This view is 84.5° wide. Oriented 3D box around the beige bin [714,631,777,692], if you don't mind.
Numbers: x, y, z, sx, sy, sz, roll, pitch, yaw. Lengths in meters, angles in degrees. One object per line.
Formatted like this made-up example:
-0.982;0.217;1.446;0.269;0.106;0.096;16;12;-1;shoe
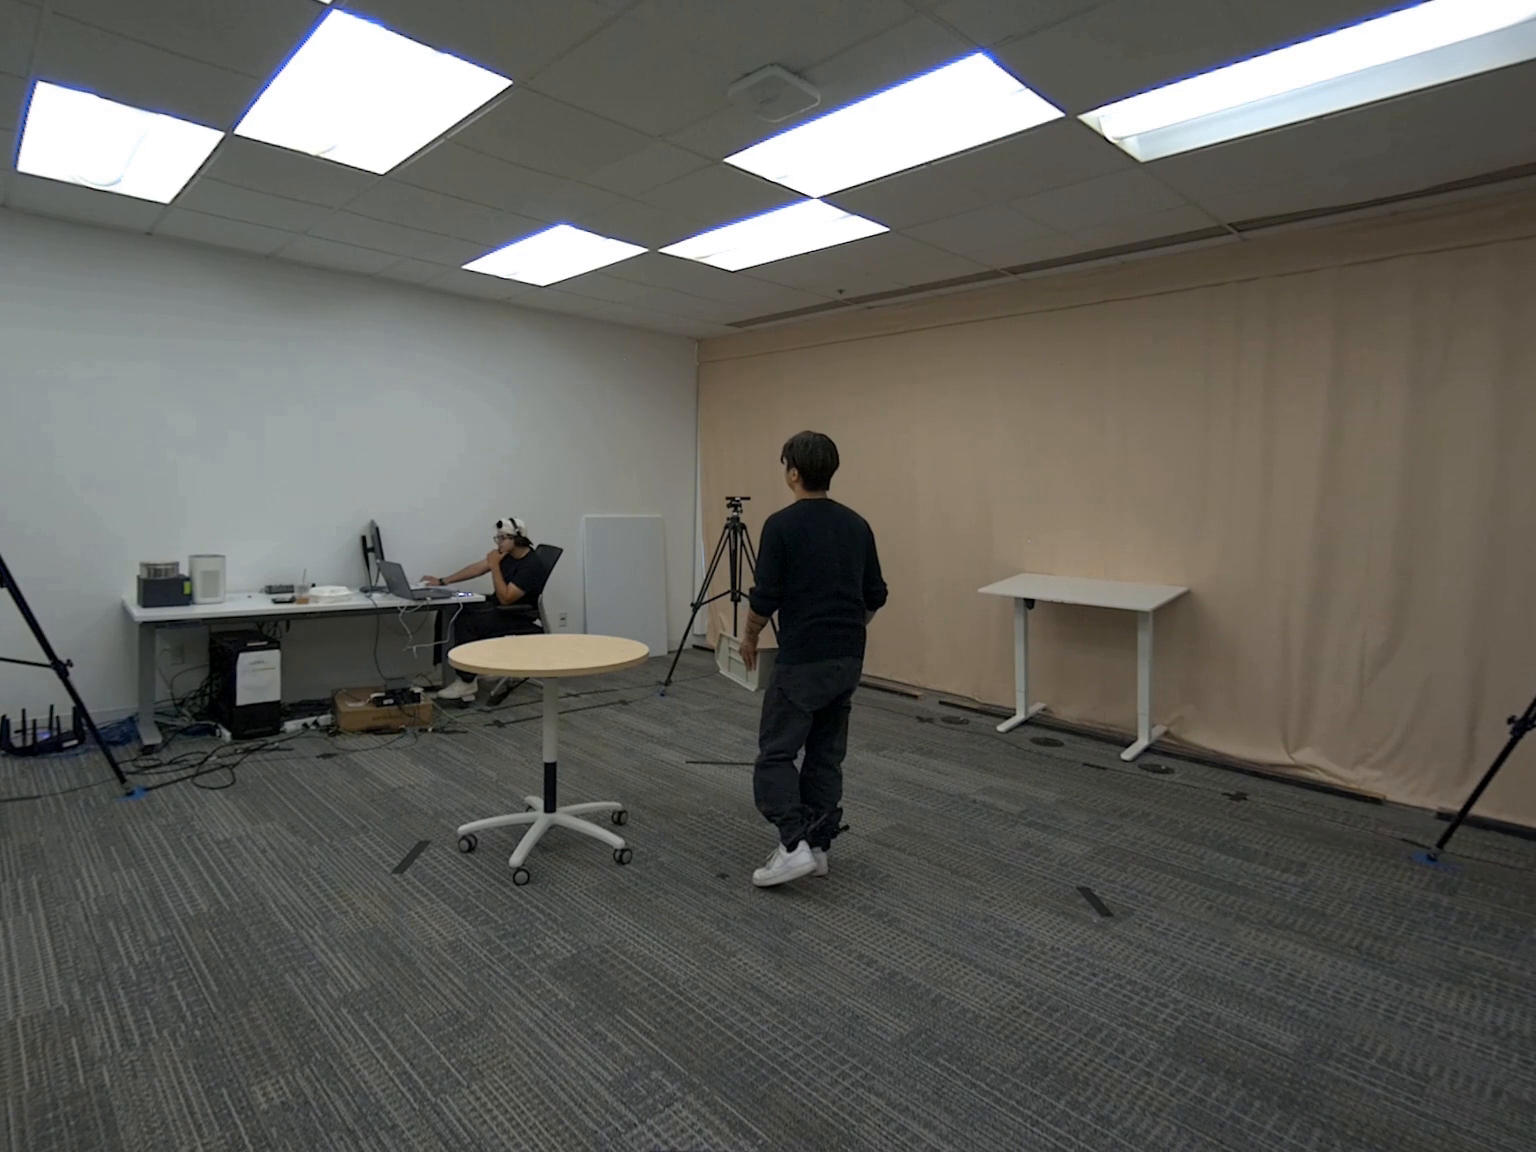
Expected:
0.035;0.339;3.521;0.414;0.188;0.387;0;9;-28;beige bin
